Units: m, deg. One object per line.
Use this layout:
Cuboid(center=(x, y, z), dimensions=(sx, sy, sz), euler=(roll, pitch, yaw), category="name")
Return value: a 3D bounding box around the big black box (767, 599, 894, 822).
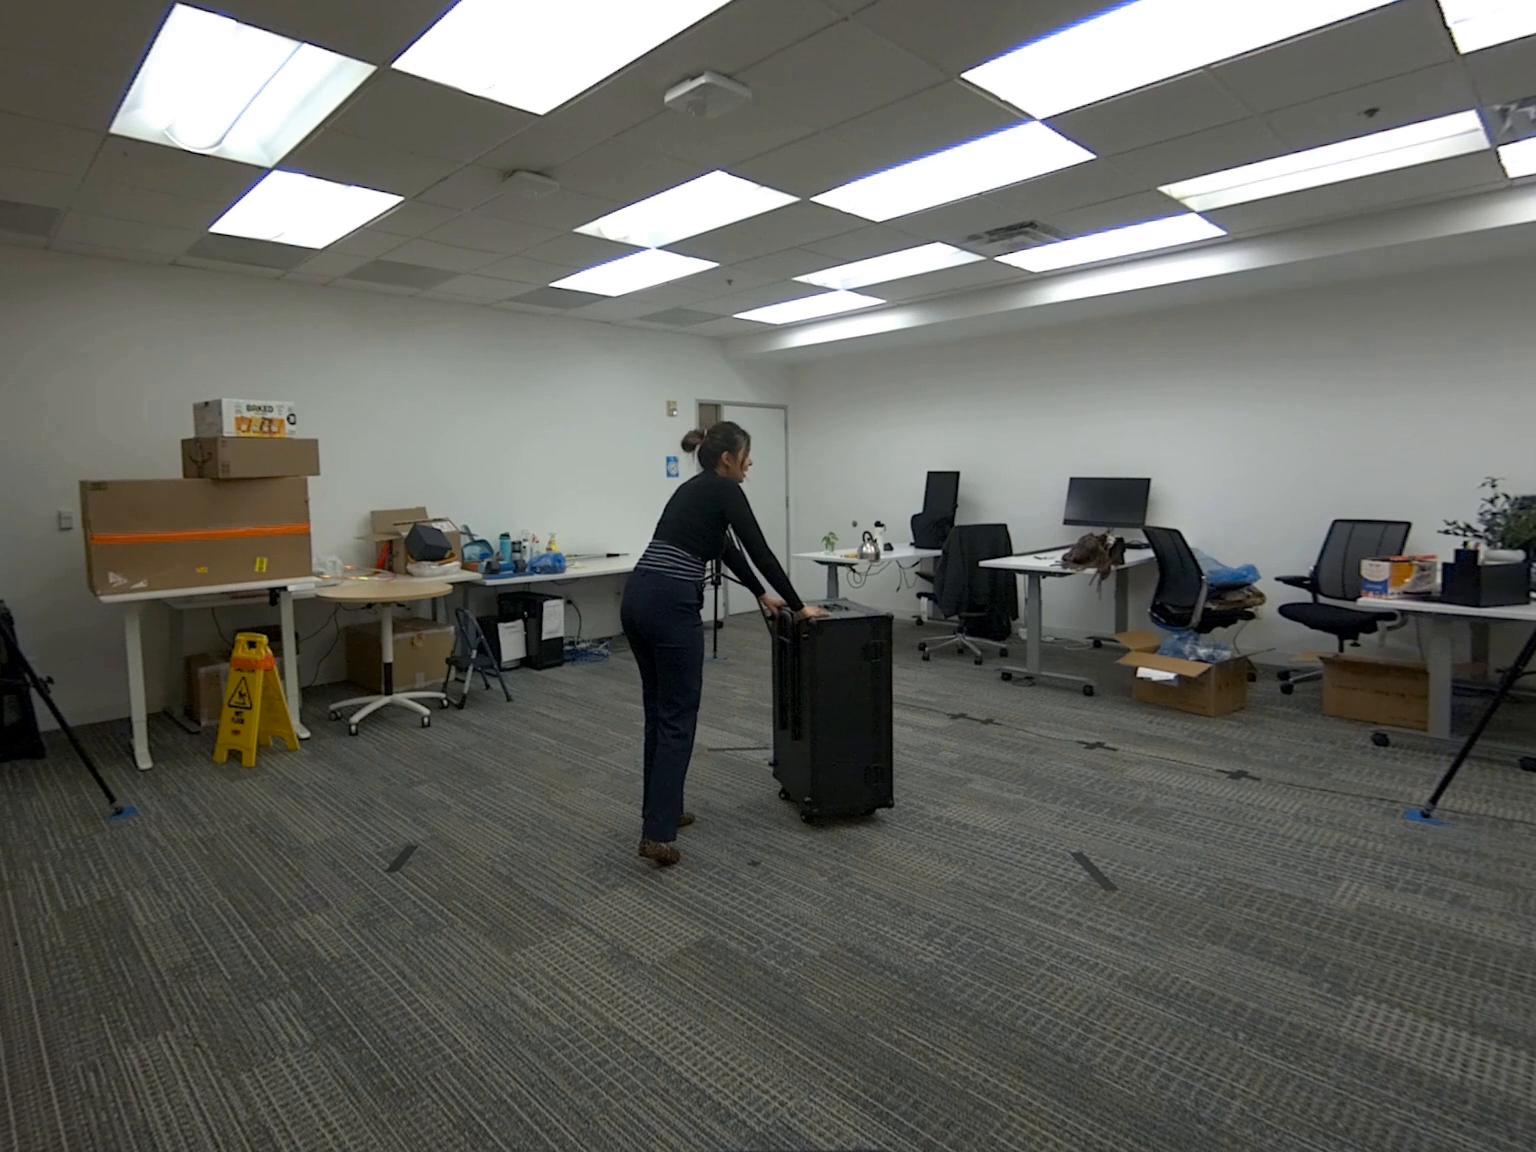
Cuboid(center=(0.253, 0.563, 3.587), dimensions=(0.390, 0.857, 0.532), euler=(-2, 6, -17), category="big black box")
